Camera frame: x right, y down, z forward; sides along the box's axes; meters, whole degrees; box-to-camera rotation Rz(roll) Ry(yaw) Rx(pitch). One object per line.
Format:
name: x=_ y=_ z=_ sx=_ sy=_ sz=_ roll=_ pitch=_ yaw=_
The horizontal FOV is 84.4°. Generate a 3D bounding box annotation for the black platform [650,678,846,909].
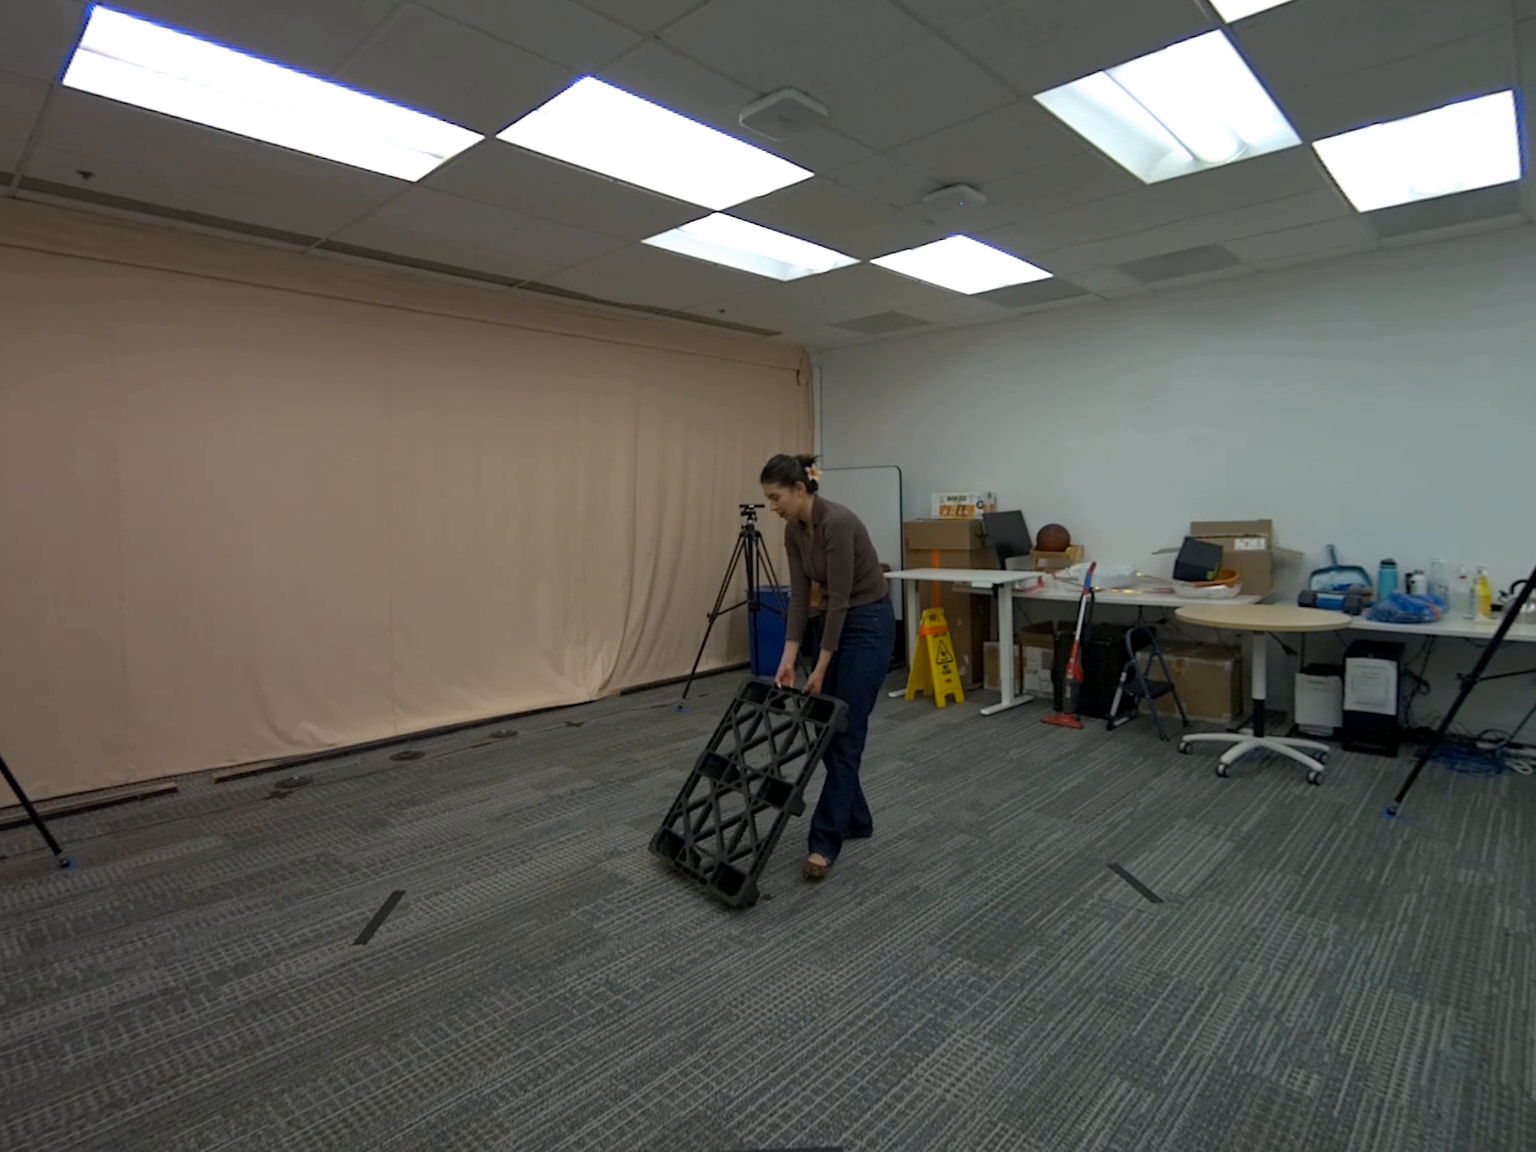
black platform: x=-0.051 y=0.790 z=3.190 sx=0.139 sy=0.805 sz=0.625 roll=42 pitch=-21 yaw=-32
